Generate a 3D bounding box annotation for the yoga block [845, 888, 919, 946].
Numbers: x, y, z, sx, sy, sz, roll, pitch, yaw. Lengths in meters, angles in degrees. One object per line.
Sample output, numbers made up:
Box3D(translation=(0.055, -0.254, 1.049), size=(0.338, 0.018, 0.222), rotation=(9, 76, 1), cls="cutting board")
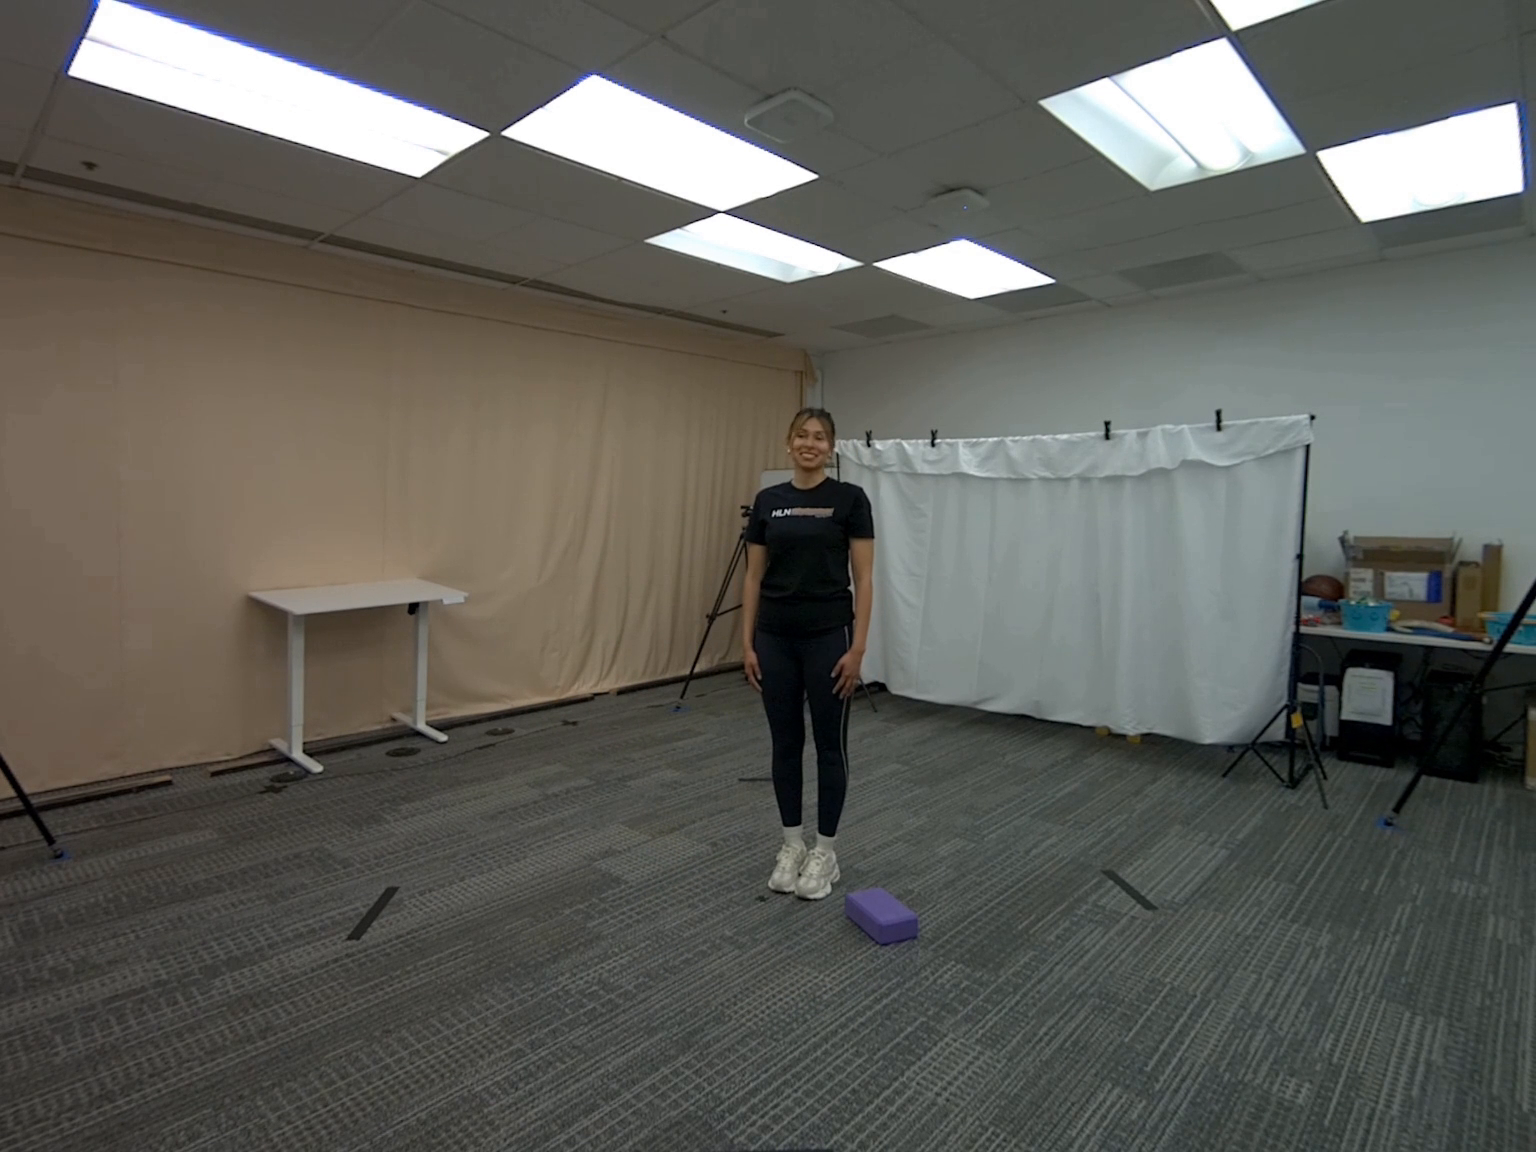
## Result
Box3D(translation=(0.379, 1.118, 2.782), size=(0.146, 0.076, 0.235), rotation=(-3, 5, -24), cls="yoga block")
